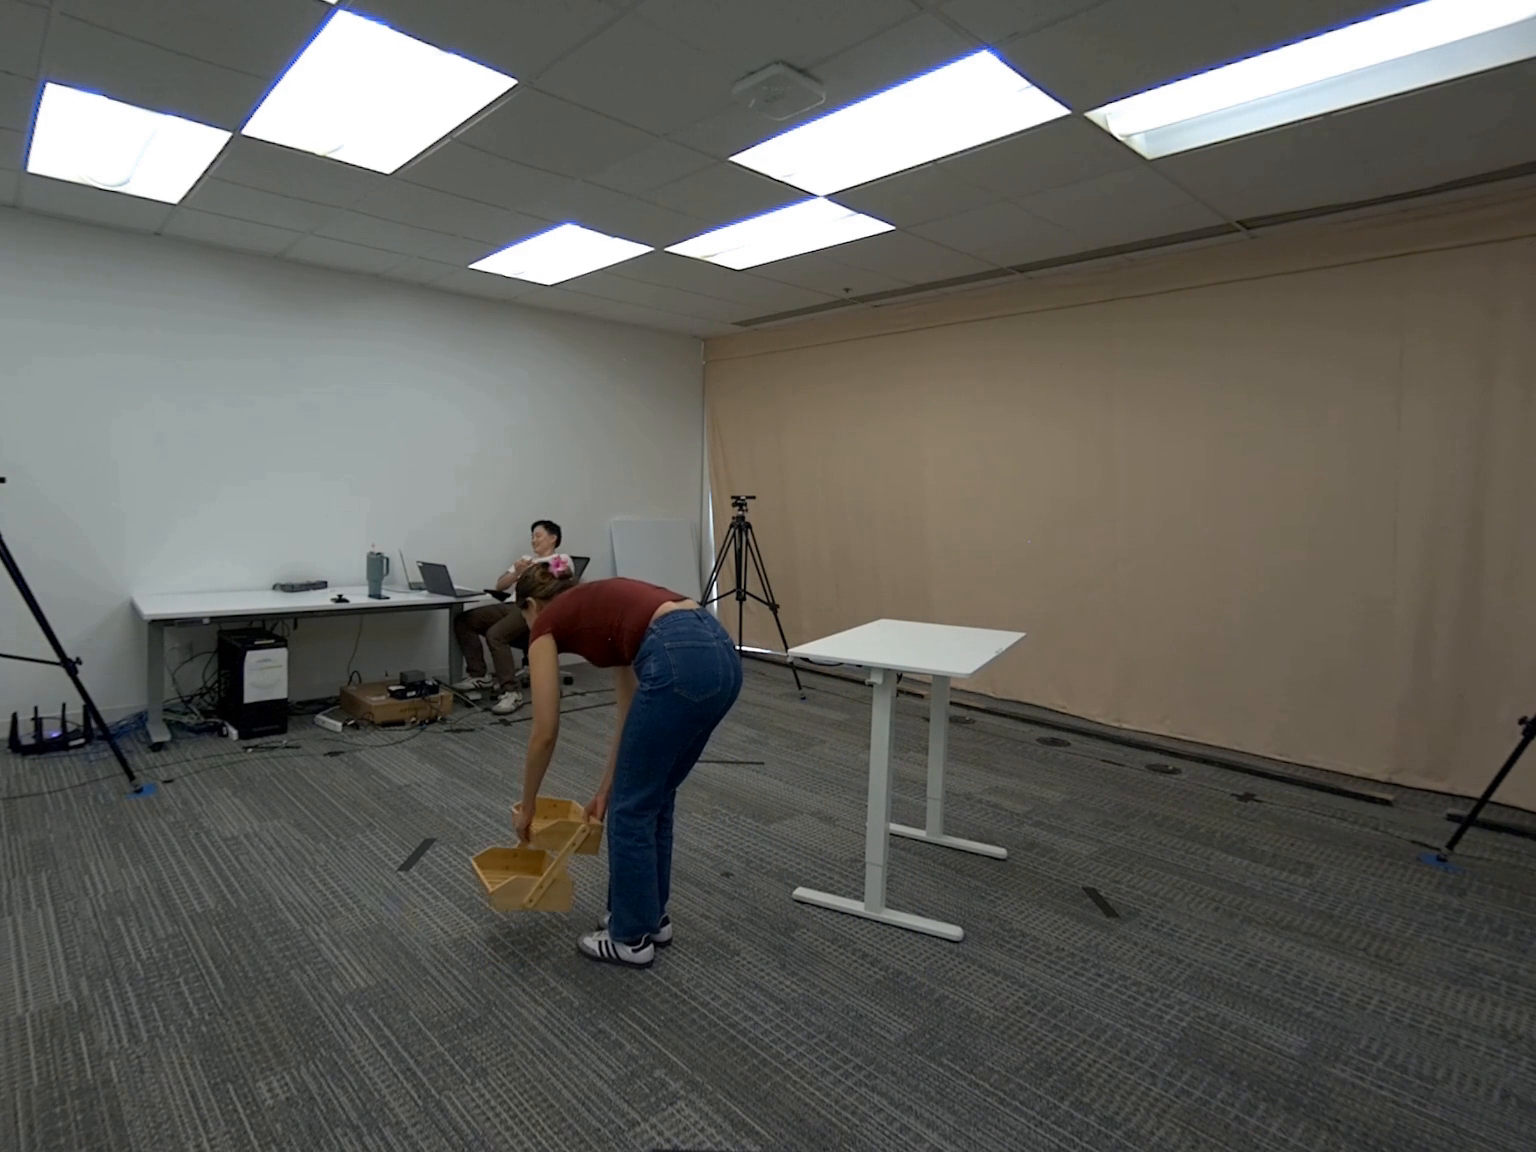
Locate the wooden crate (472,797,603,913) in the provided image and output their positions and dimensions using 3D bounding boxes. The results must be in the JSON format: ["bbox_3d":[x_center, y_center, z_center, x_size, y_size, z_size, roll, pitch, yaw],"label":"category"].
[{"bbox_3d":[-0.728,0.838,2.611,0.295,0.274,0.331,16,-7,-28],"label":"wooden crate"}]
